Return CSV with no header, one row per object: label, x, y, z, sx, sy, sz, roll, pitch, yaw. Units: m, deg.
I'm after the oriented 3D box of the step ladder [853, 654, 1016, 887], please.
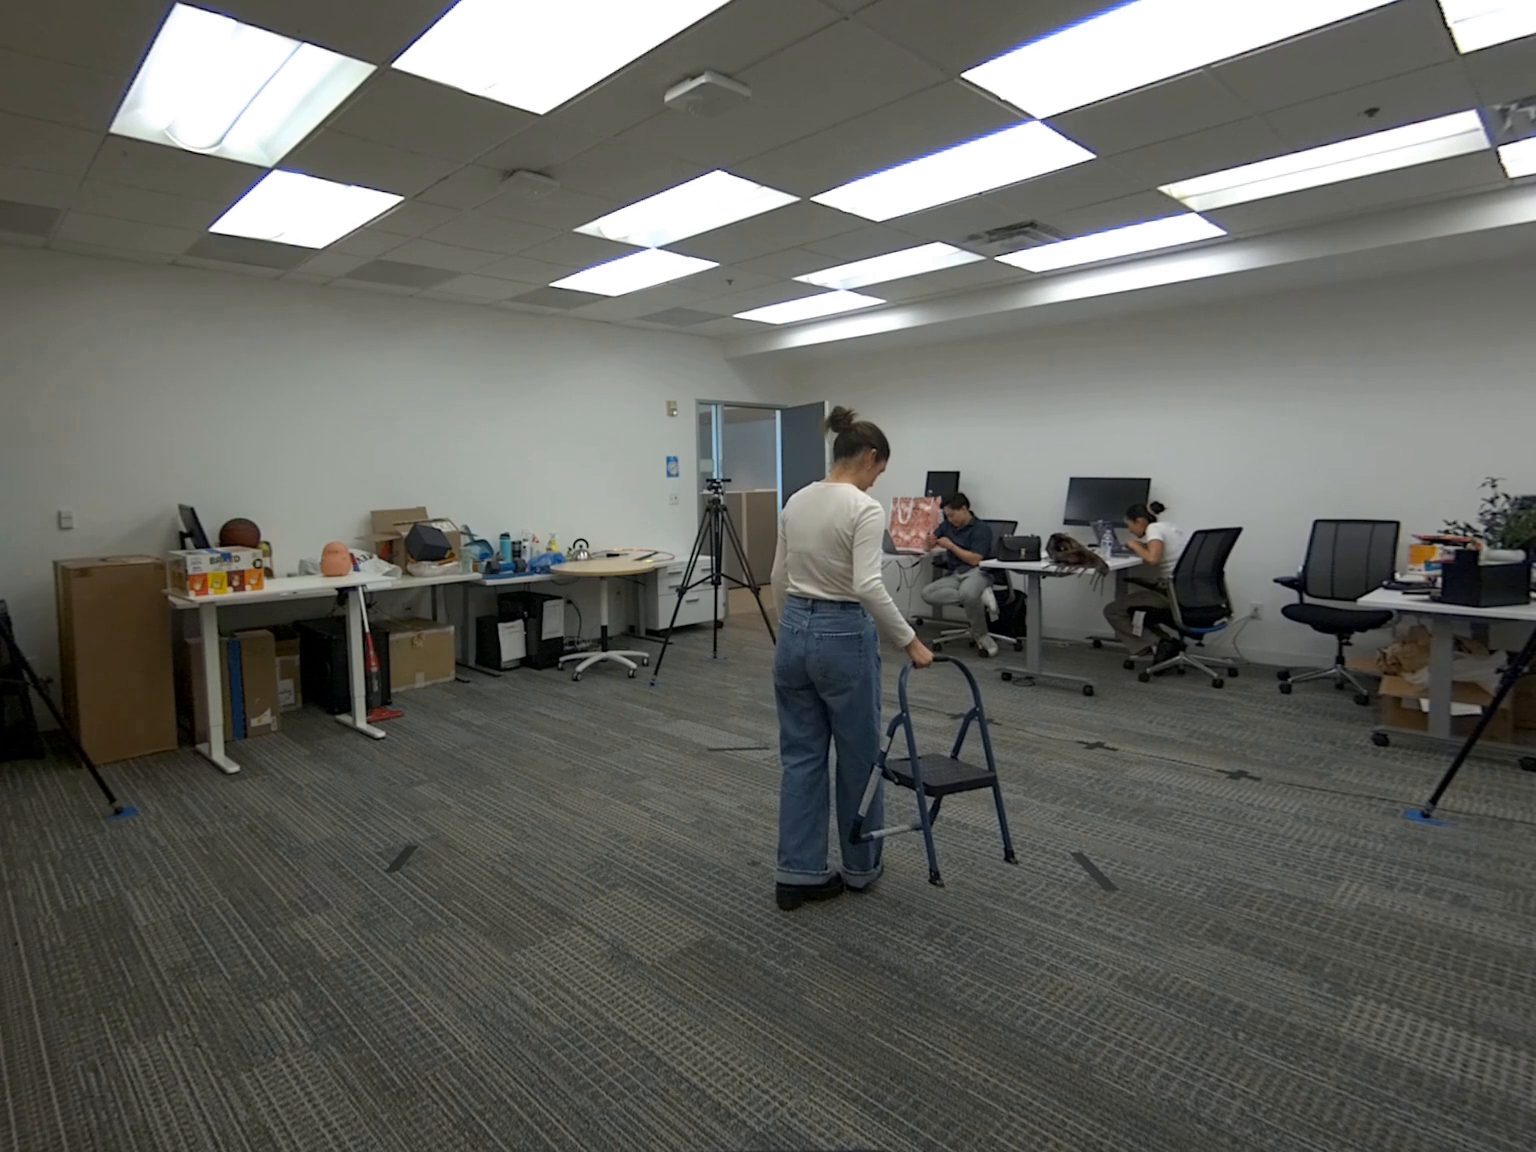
step ladder,0.547,0.571,2.660,0.417,0.606,0.360,7,0,-43
